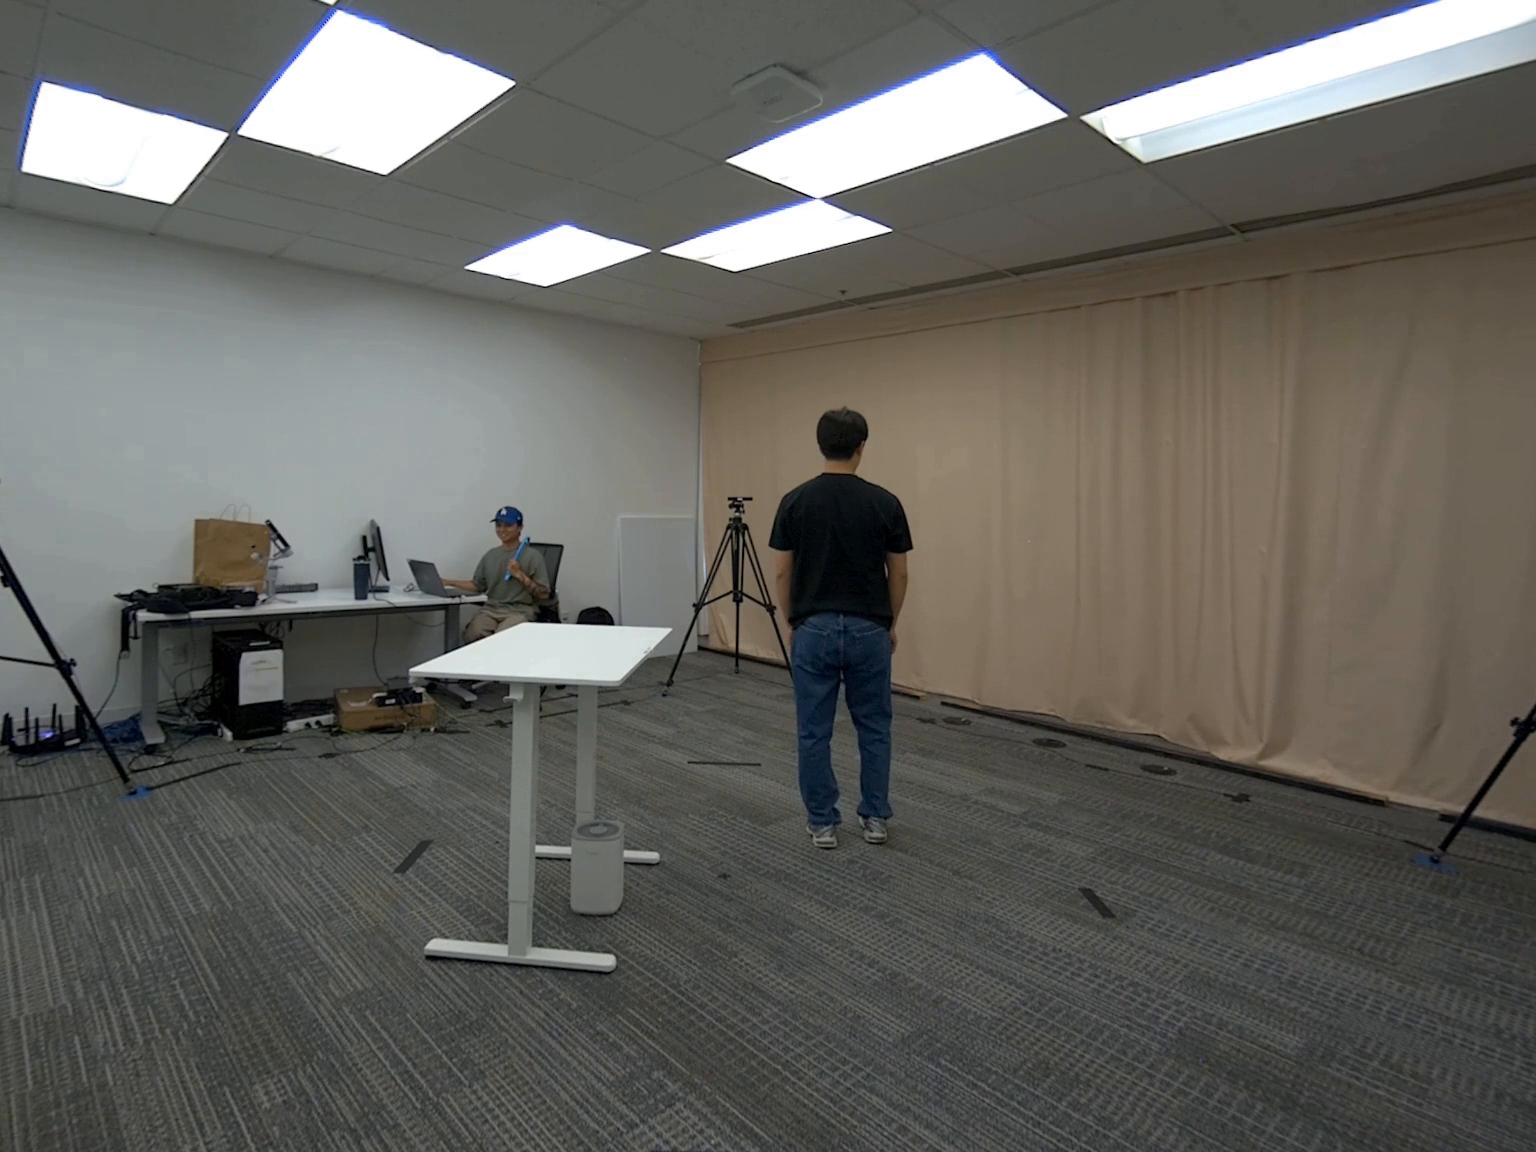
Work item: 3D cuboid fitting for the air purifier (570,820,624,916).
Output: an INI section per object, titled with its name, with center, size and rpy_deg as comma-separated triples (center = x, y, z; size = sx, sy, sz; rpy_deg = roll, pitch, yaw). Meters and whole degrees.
[air purifier]
center = -0.576, 0.985, 2.849
size = 0.171, 0.264, 0.172
rpy_deg = 1, 4, -2
